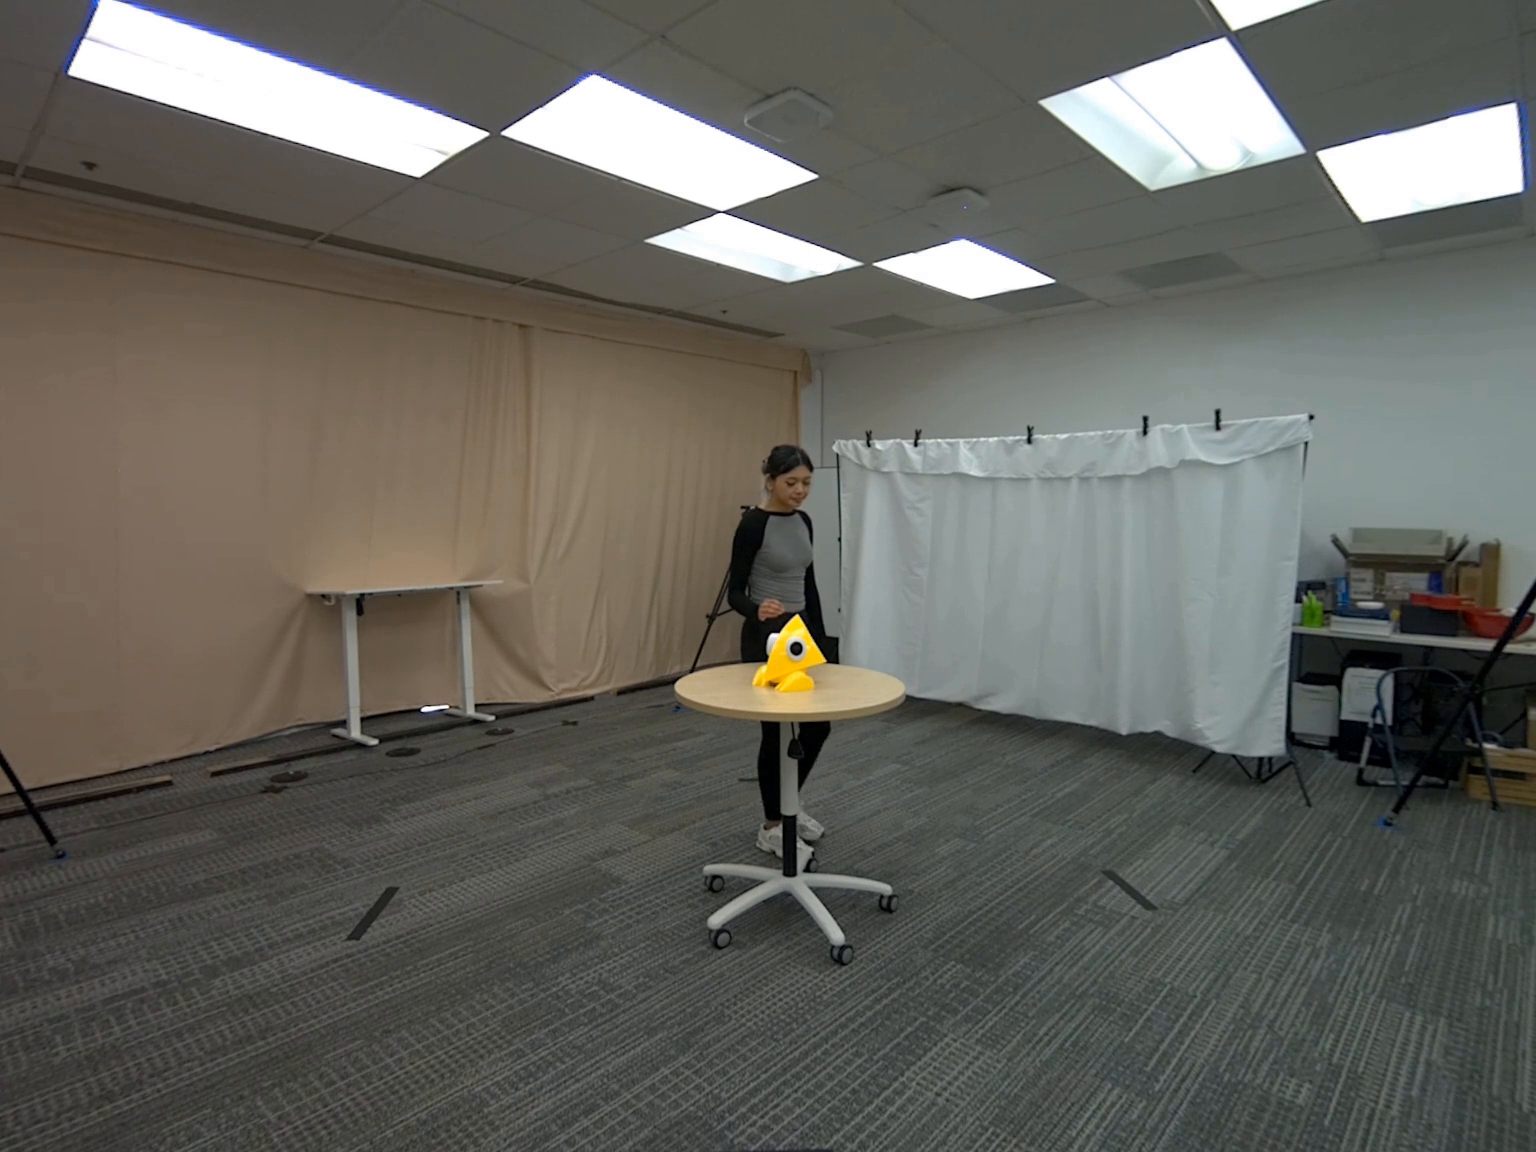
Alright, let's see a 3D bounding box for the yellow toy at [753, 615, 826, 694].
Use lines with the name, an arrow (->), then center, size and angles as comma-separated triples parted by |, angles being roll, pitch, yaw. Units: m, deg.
yellow toy -> 0.057, 0.249, 2.813 | 0.187, 0.230, 0.211 | -5, 6, -42
